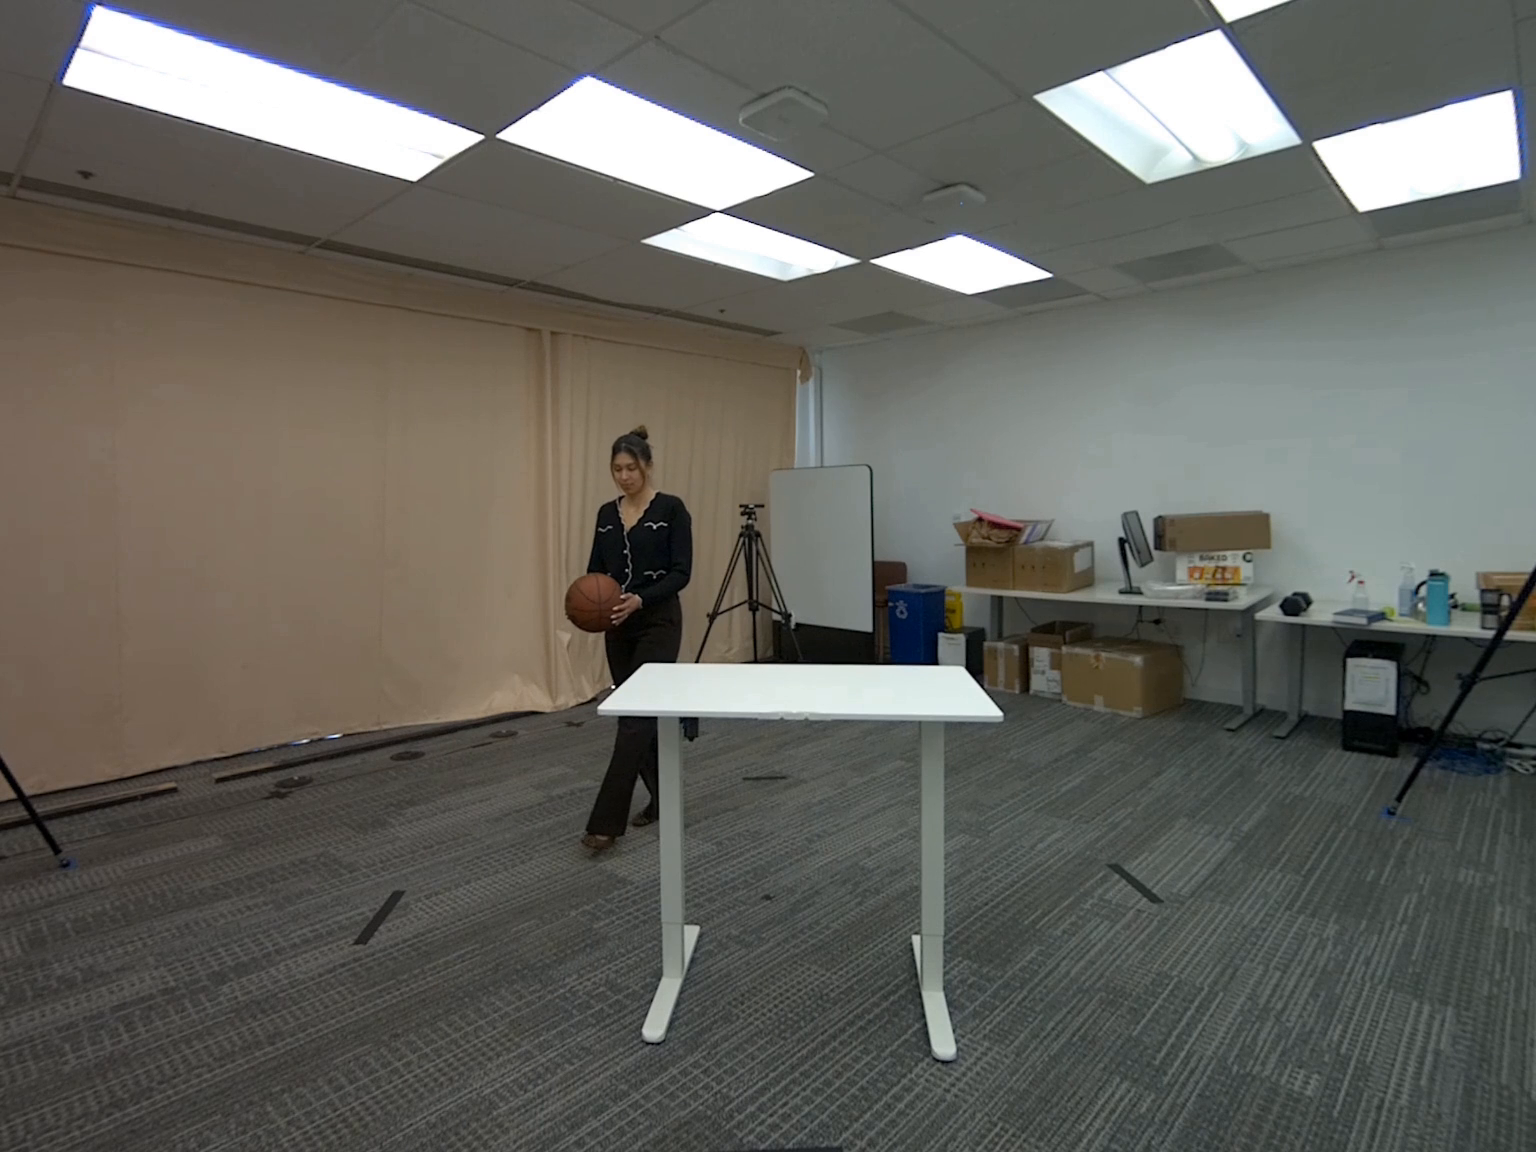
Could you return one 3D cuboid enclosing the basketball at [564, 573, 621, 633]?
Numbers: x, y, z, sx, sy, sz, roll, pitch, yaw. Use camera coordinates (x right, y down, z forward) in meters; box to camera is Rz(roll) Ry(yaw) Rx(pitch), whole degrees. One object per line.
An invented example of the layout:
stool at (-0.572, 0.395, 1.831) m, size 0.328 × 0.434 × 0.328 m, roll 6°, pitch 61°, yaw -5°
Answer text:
basketball at (-0.688, 0.106, 3.318) m, size 0.236 × 0.235 × 0.237 m, roll -1°, pitch 4°, yaw -2°
